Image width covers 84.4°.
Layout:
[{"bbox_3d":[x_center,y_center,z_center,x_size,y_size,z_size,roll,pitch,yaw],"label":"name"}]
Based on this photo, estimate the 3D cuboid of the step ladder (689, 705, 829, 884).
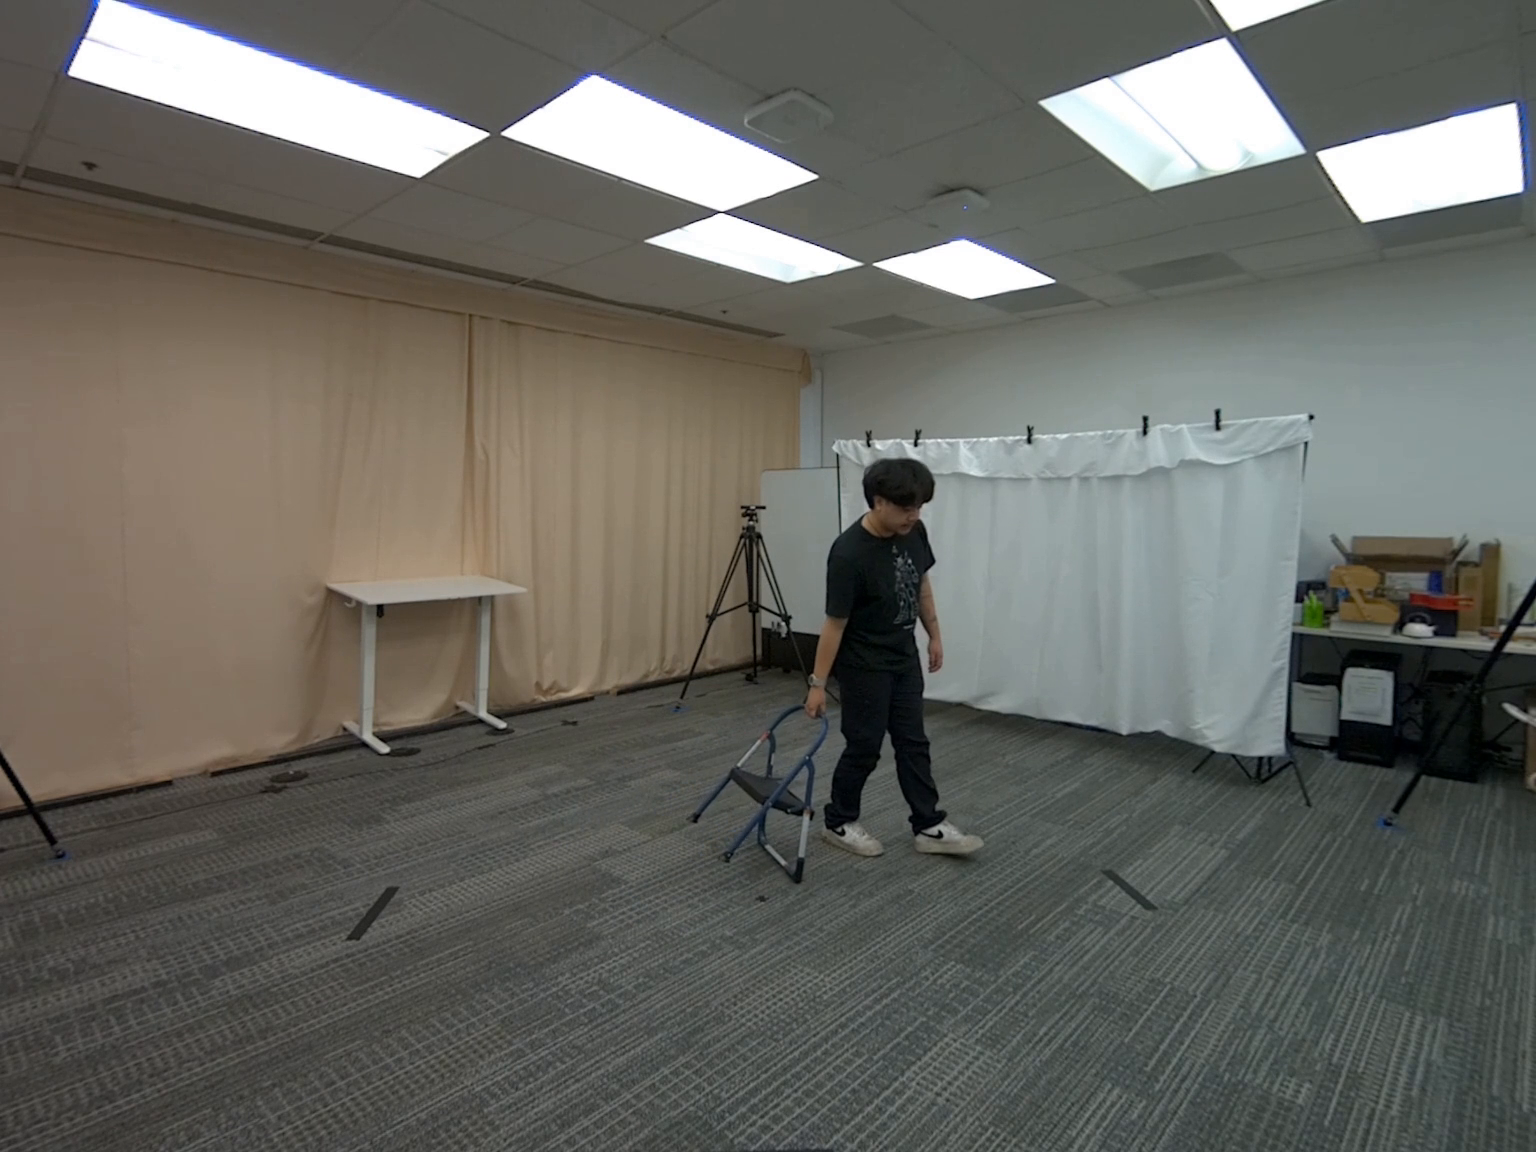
[{"bbox_3d":[0.020,0.781,3.262,0.341,0.606,0.440,24,-5,-20],"label":"step ladder"}]
